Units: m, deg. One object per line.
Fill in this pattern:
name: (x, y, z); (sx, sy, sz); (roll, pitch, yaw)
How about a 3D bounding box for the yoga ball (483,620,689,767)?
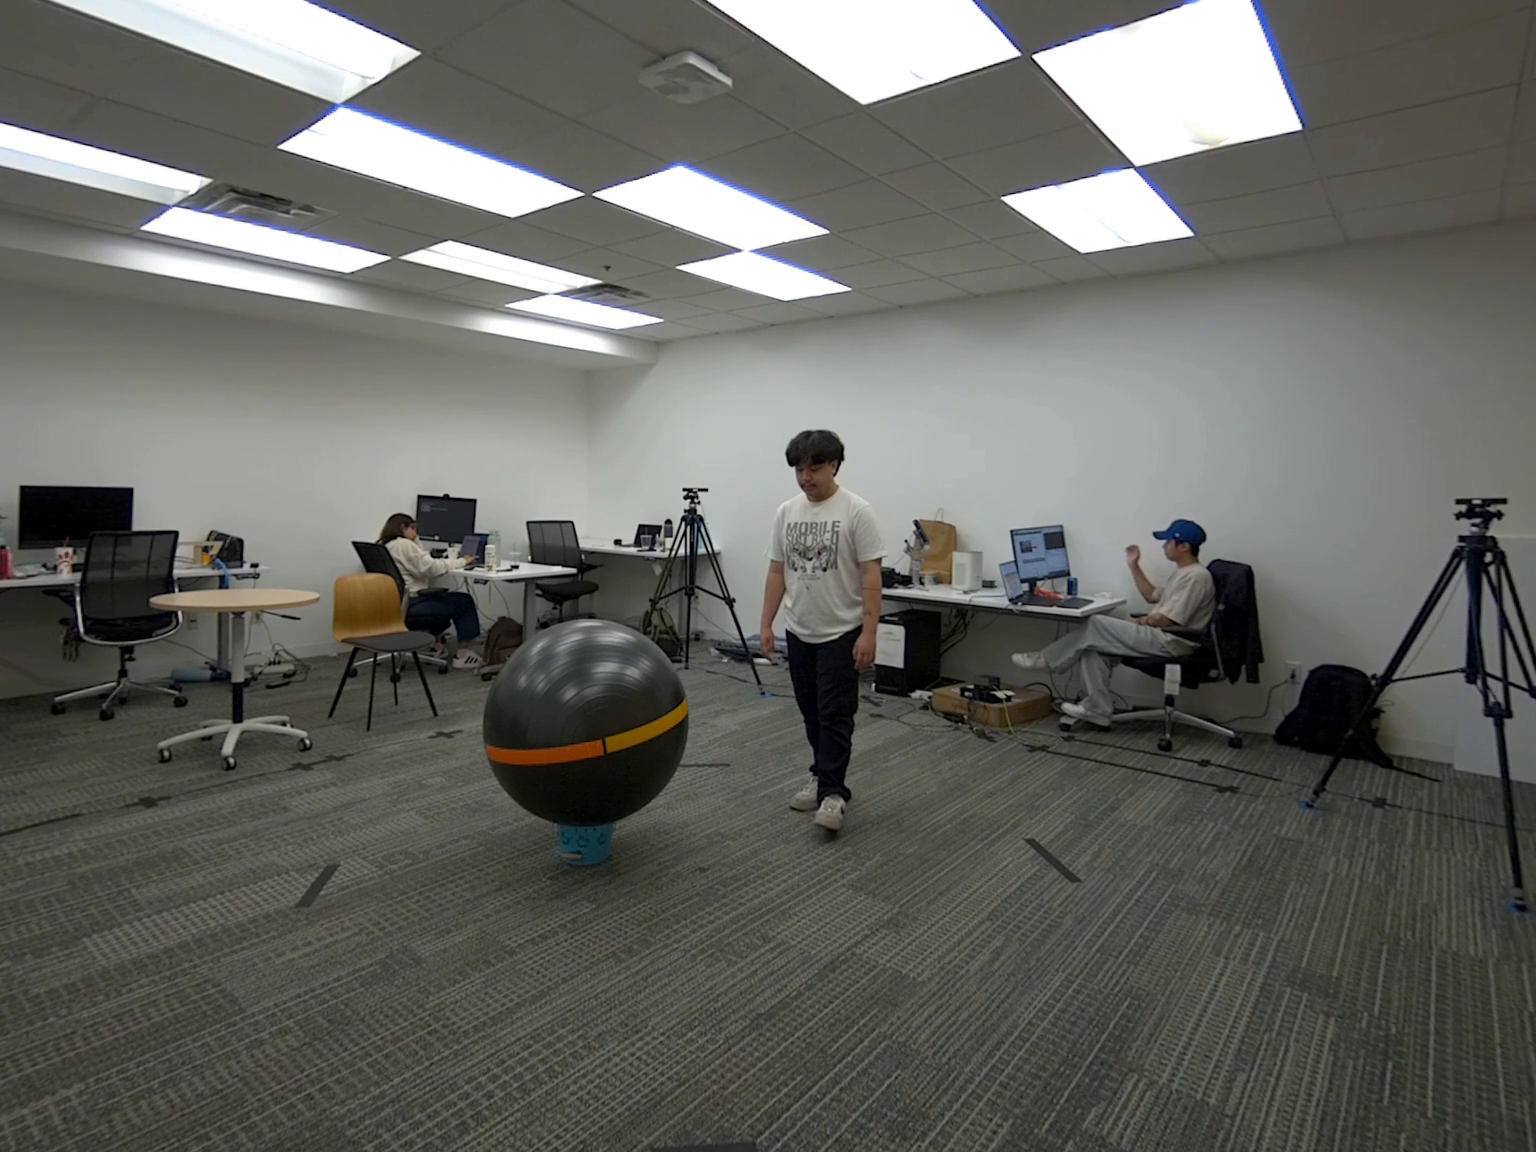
yoga ball: (-0.689, 0.542, 3.193); (0.757, 0.755, 0.762); (1, 4, -2)
